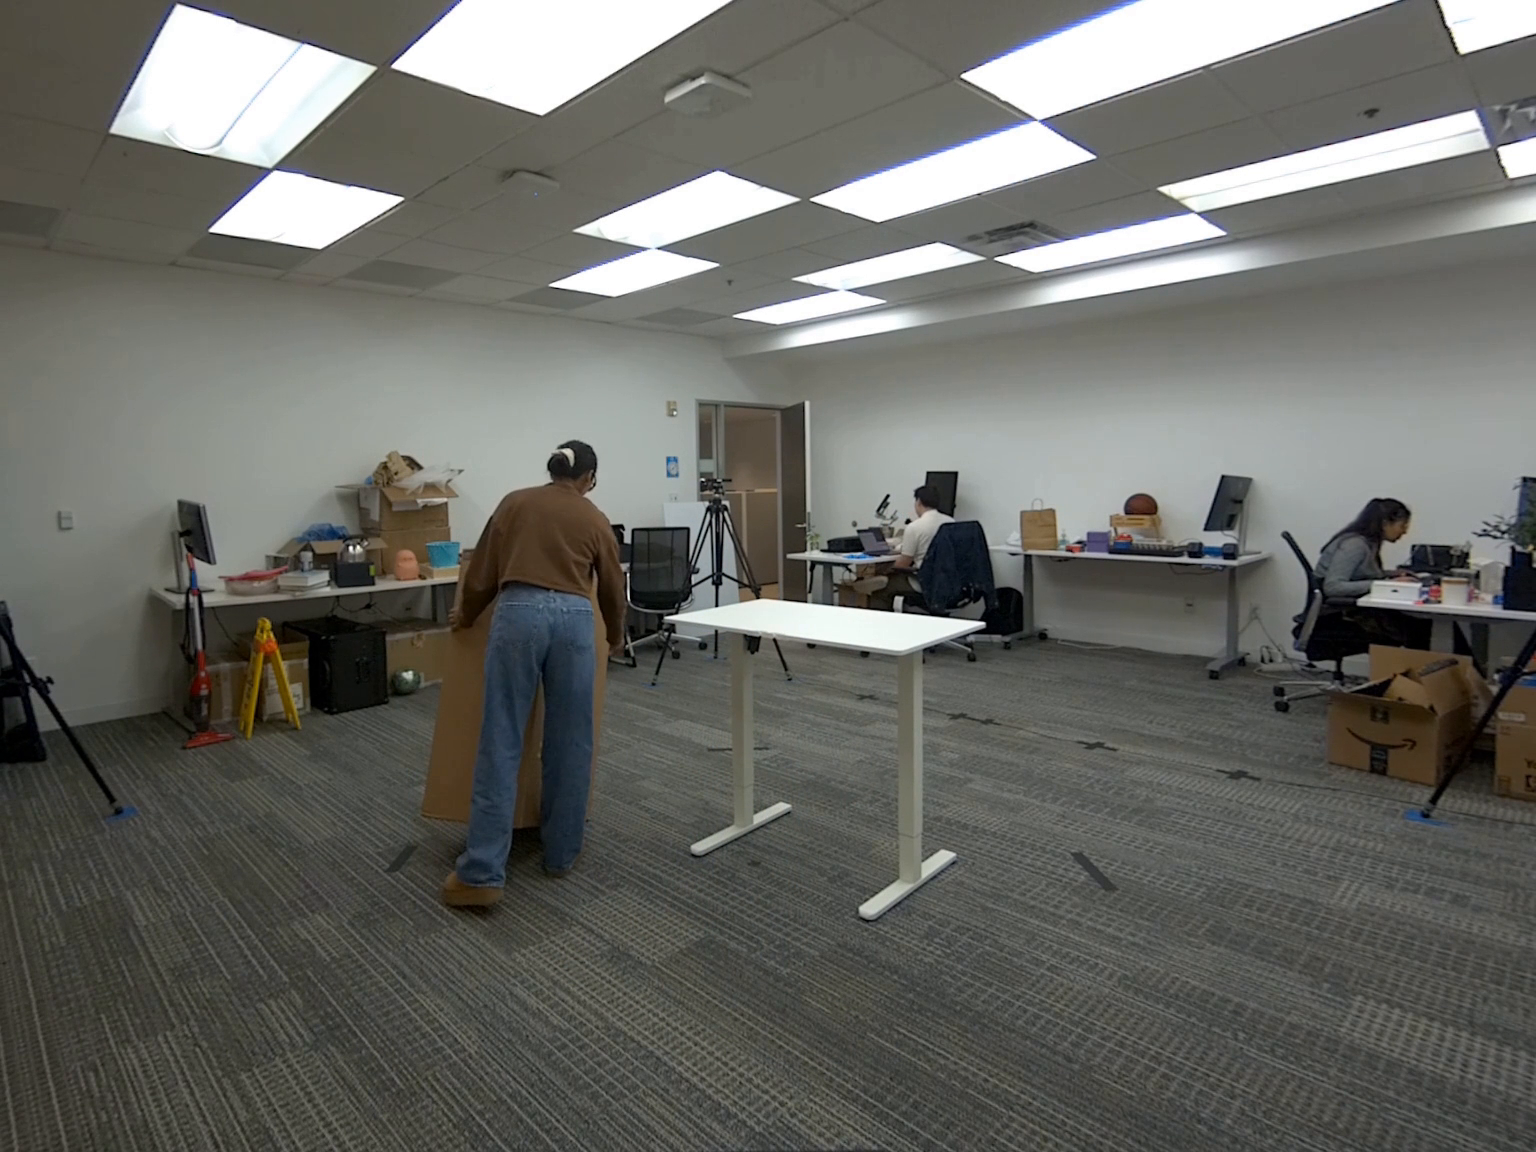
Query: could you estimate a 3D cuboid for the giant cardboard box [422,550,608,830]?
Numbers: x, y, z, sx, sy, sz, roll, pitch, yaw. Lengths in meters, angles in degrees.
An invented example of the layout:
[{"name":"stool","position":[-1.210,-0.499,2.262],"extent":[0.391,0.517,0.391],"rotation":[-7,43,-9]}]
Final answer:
[{"name":"giant cardboard box","position":[-0.981,0.449,3.470],"extent":[0.432,1.037,0.563],"rotation":[1,-13,13]}]
